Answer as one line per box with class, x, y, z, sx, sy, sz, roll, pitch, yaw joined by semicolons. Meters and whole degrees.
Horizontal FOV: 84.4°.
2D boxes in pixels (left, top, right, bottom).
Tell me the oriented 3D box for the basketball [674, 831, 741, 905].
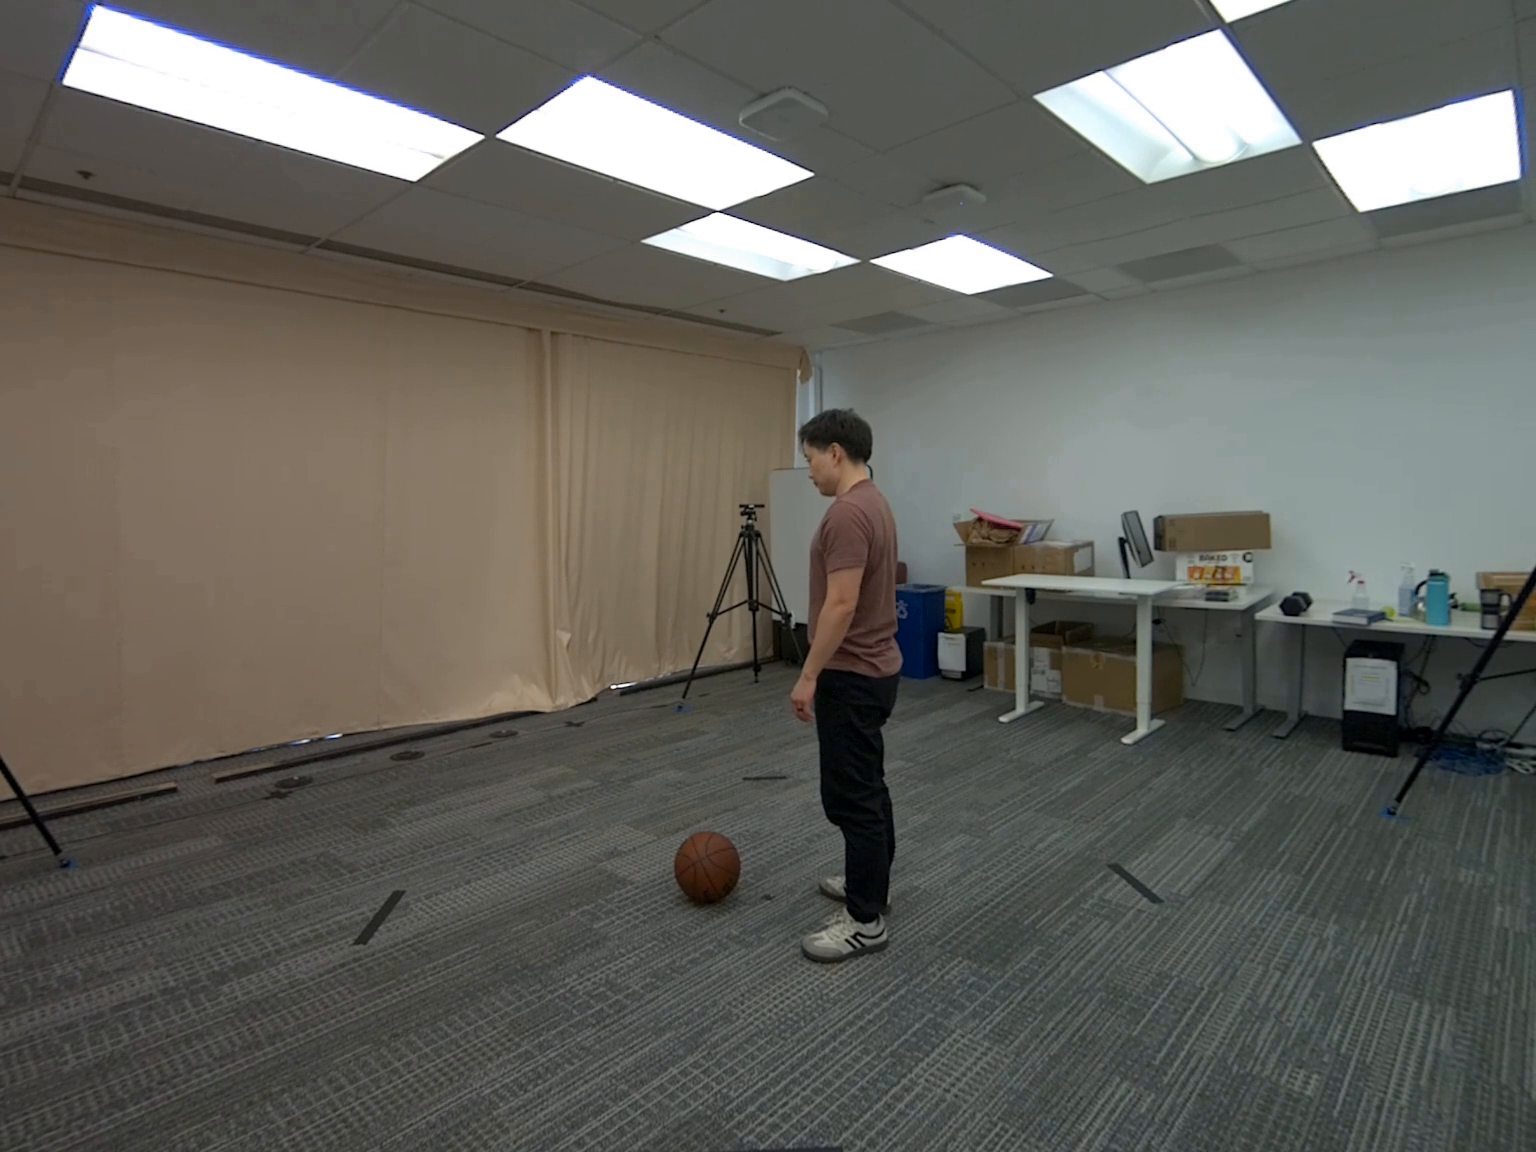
basketball;-0.215;1.029;2.977;0.236;0.235;0.237;-1;4;-2
